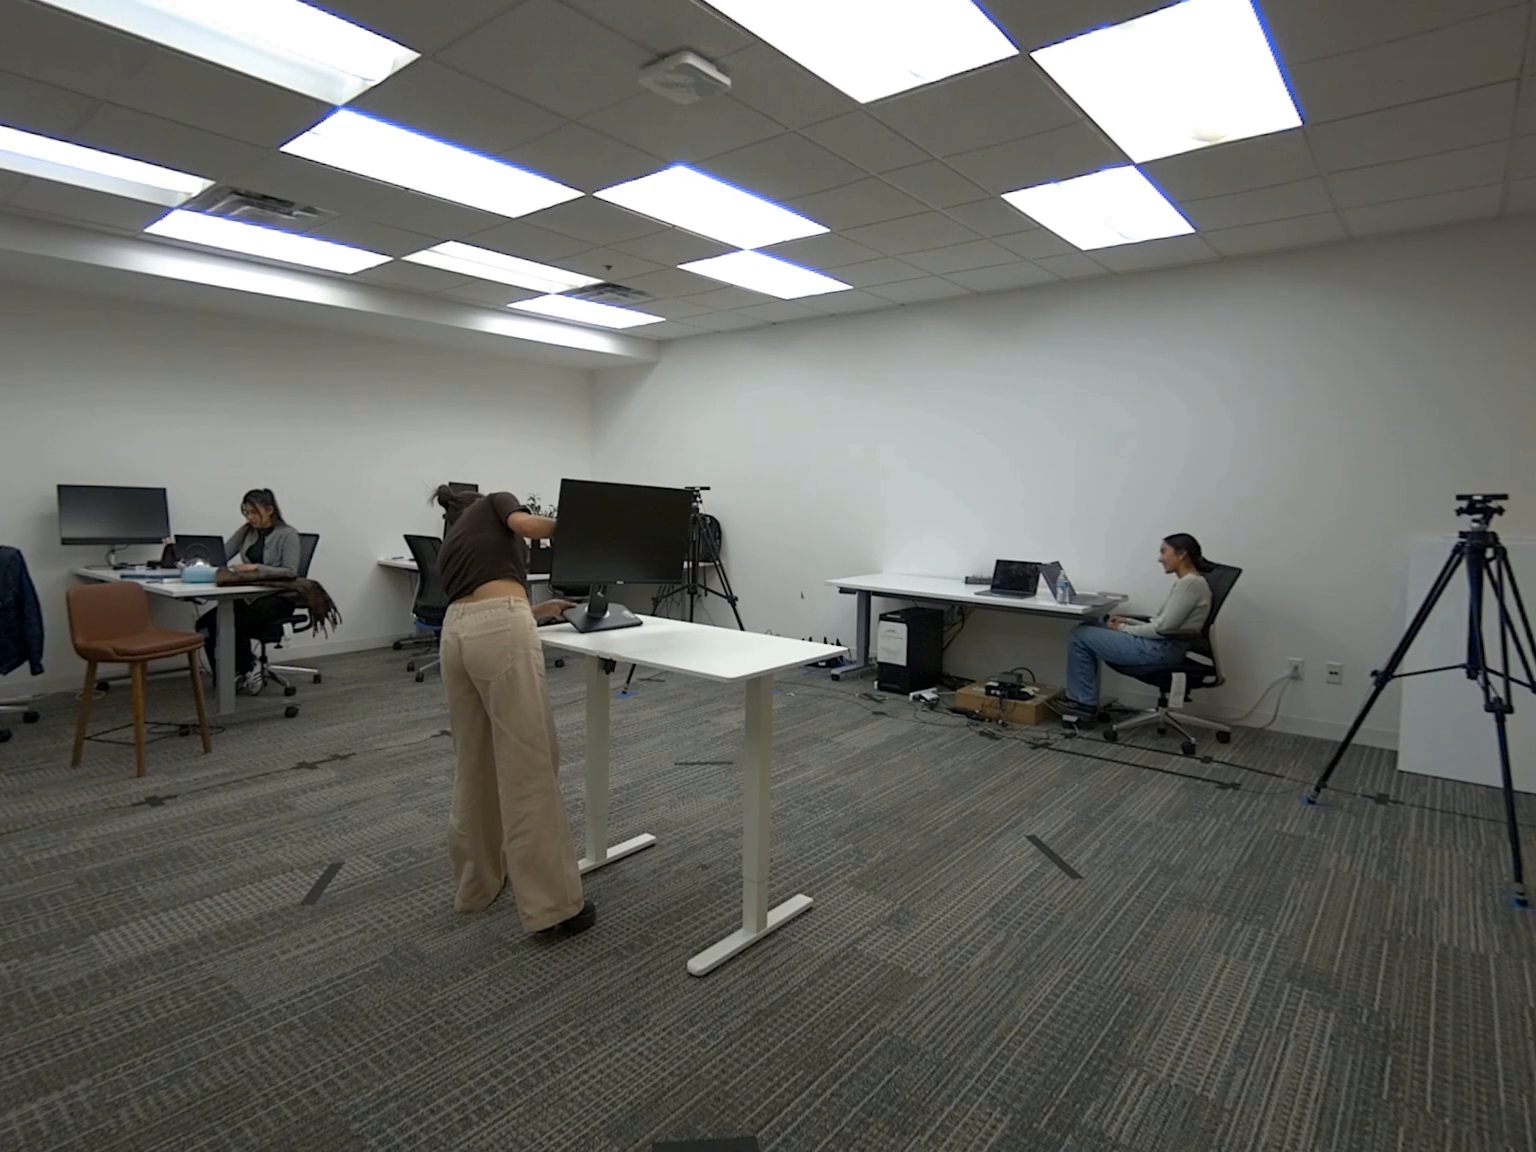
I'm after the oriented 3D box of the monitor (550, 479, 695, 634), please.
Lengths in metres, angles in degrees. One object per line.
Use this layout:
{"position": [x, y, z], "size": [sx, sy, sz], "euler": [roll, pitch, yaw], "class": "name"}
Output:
{"position": [-0.552, -0.077, 2.978], "size": [0.522, 0.517, 0.195], "euler": [1, 23, -40], "class": "monitor"}
